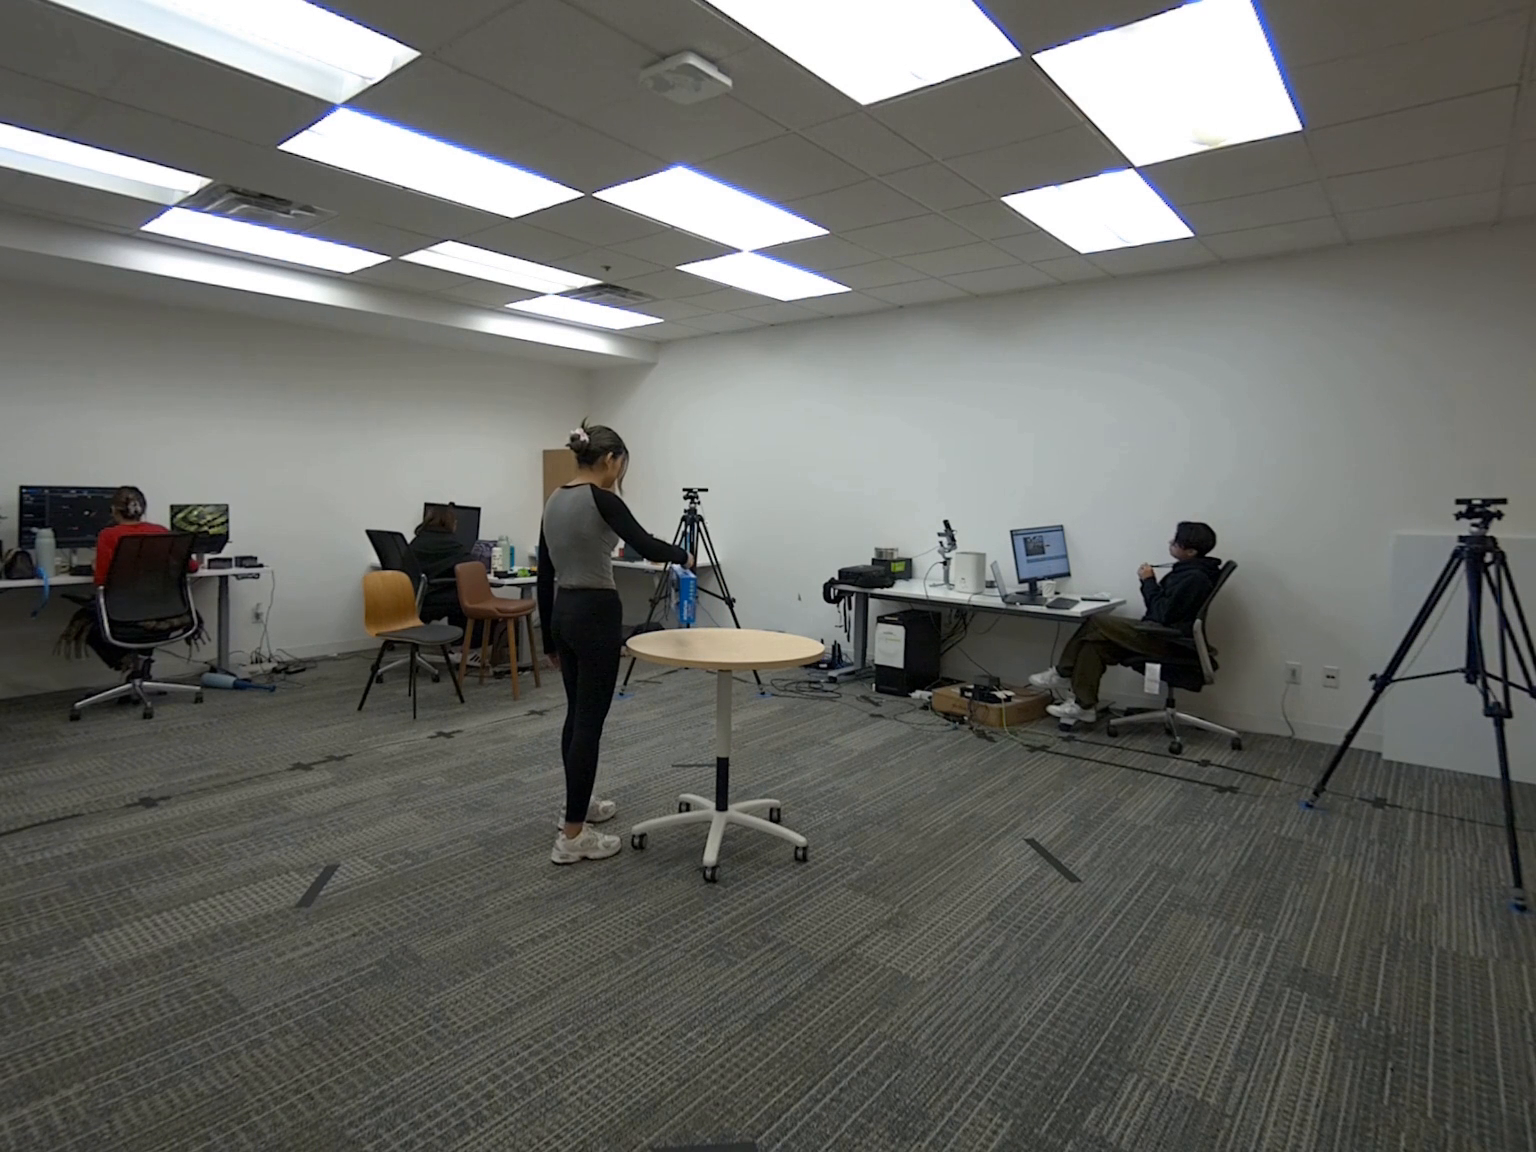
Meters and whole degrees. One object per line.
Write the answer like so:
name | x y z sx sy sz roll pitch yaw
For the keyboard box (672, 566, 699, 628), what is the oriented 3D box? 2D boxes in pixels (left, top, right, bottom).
keyboard box | -0.354 0.064 3.368 0.058 0.175 0.444 1 6 -13
